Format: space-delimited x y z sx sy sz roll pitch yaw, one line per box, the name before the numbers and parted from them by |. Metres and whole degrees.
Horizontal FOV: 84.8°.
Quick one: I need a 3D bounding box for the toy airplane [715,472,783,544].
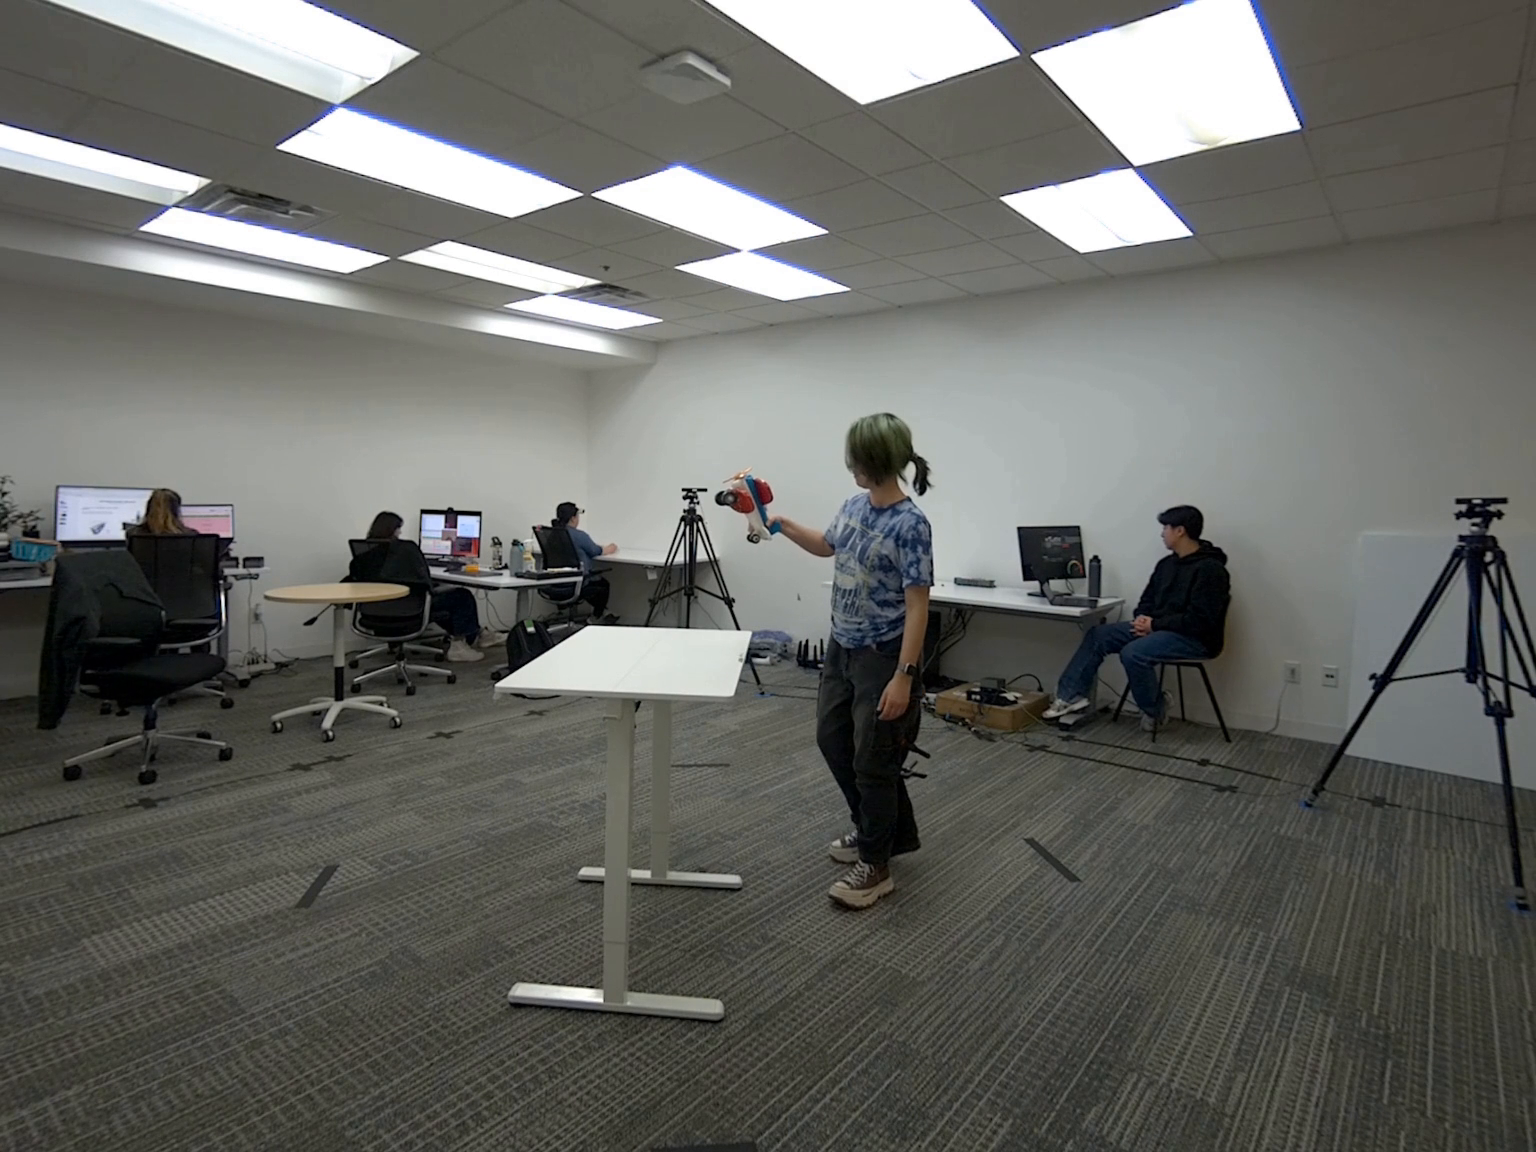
toy airplane | -0.087 -0.251 3.065 0.156 0.249 0.262 -41 42 -11
